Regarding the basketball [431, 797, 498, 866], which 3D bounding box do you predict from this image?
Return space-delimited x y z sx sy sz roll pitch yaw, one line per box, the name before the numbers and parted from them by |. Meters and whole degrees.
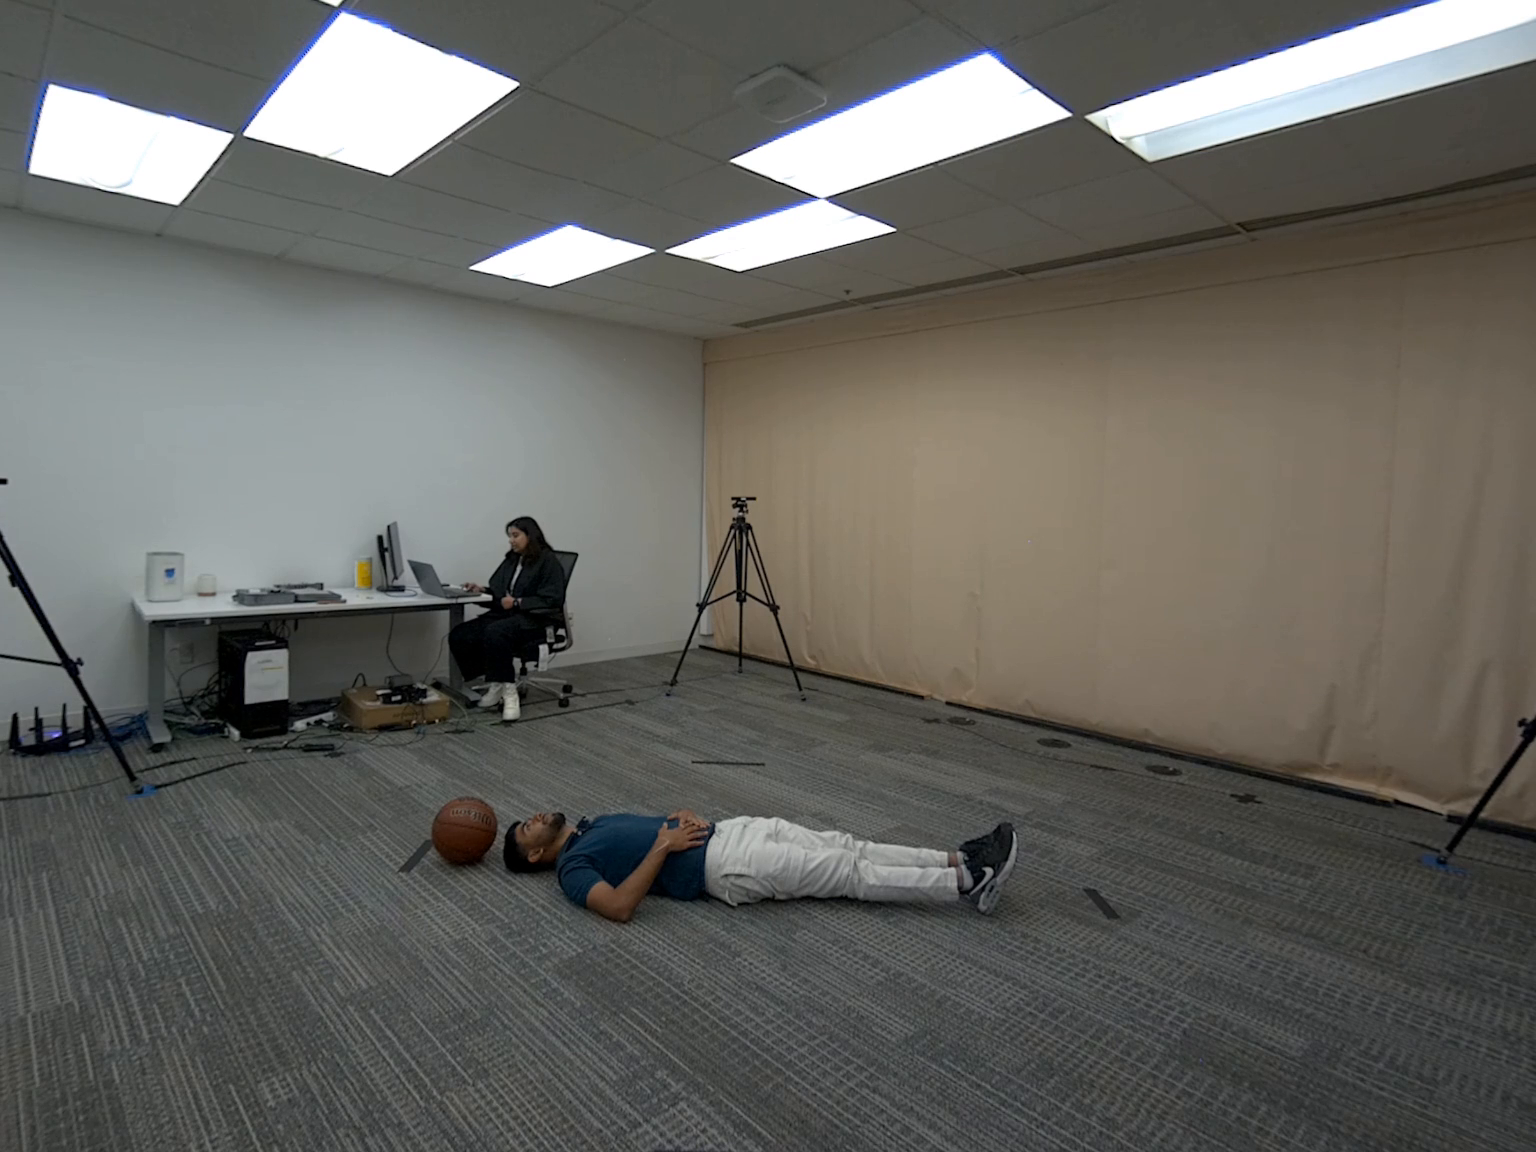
basketball | -1.155 0.958 3.179 0.236 0.235 0.237 1 4 -1
